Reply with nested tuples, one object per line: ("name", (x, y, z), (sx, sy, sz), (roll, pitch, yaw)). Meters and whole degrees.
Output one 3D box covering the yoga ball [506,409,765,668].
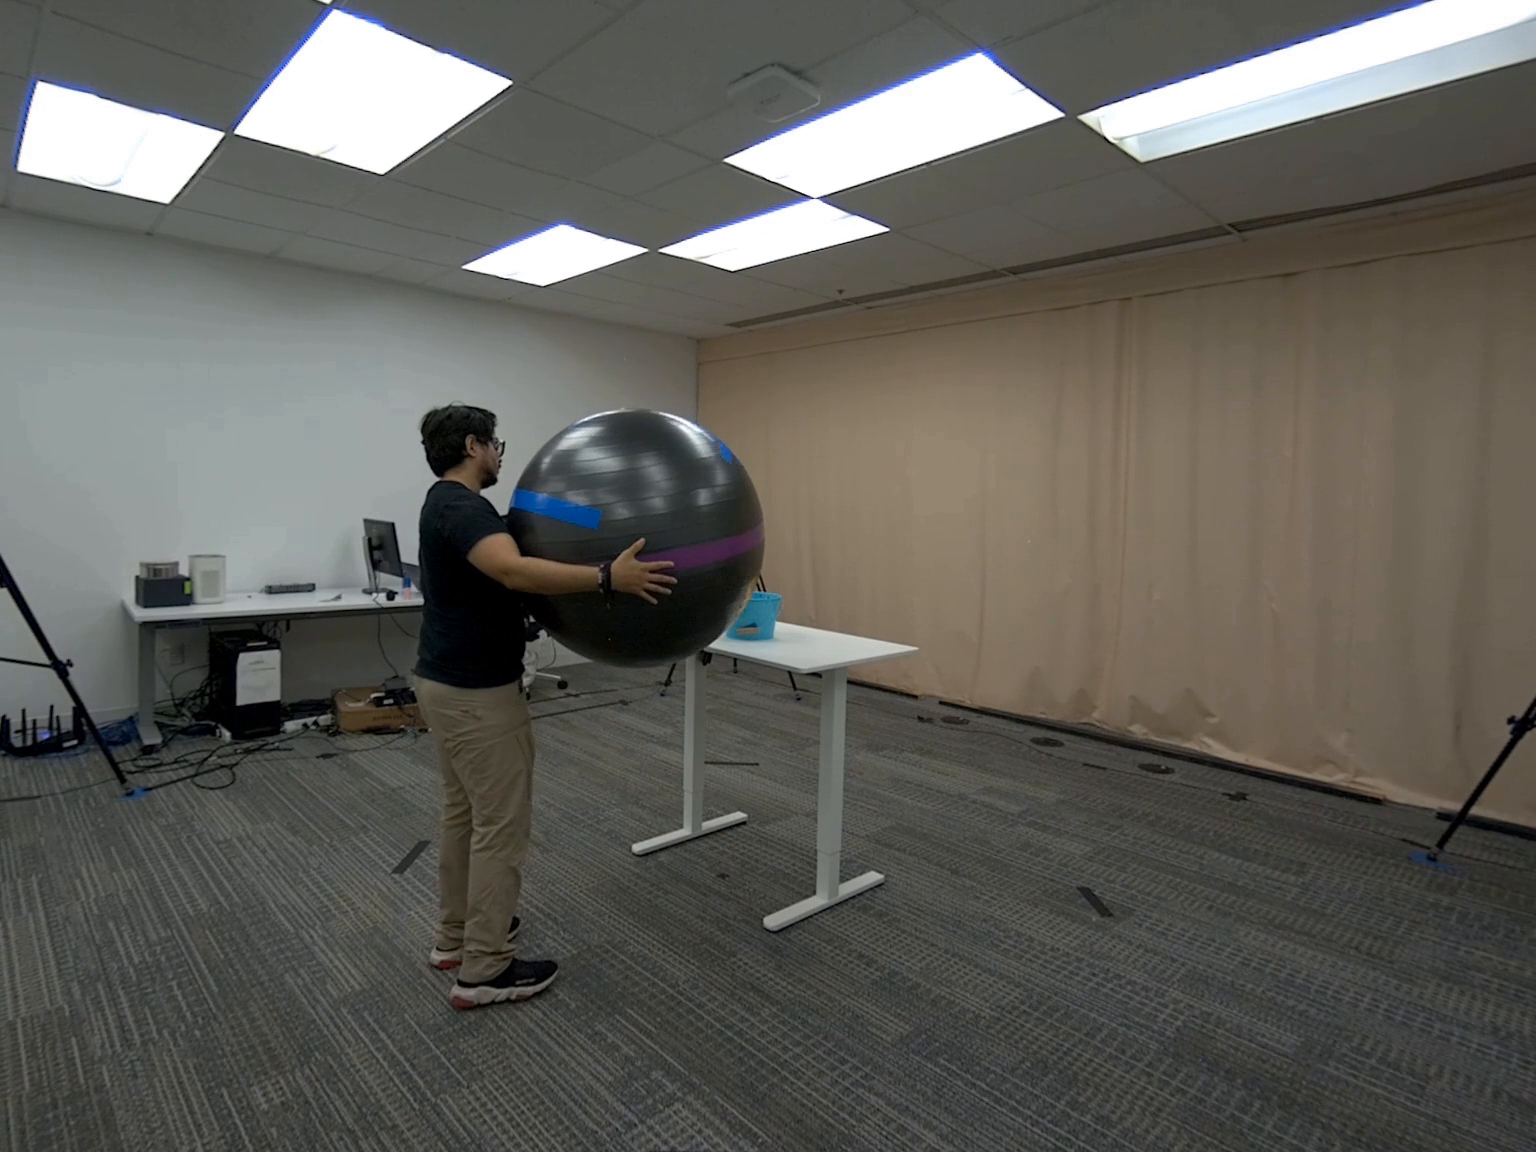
("yoga ball", (-0.387, -0.102, 2.466), (0.757, 0.756, 0.761), (1, 4, -1))
